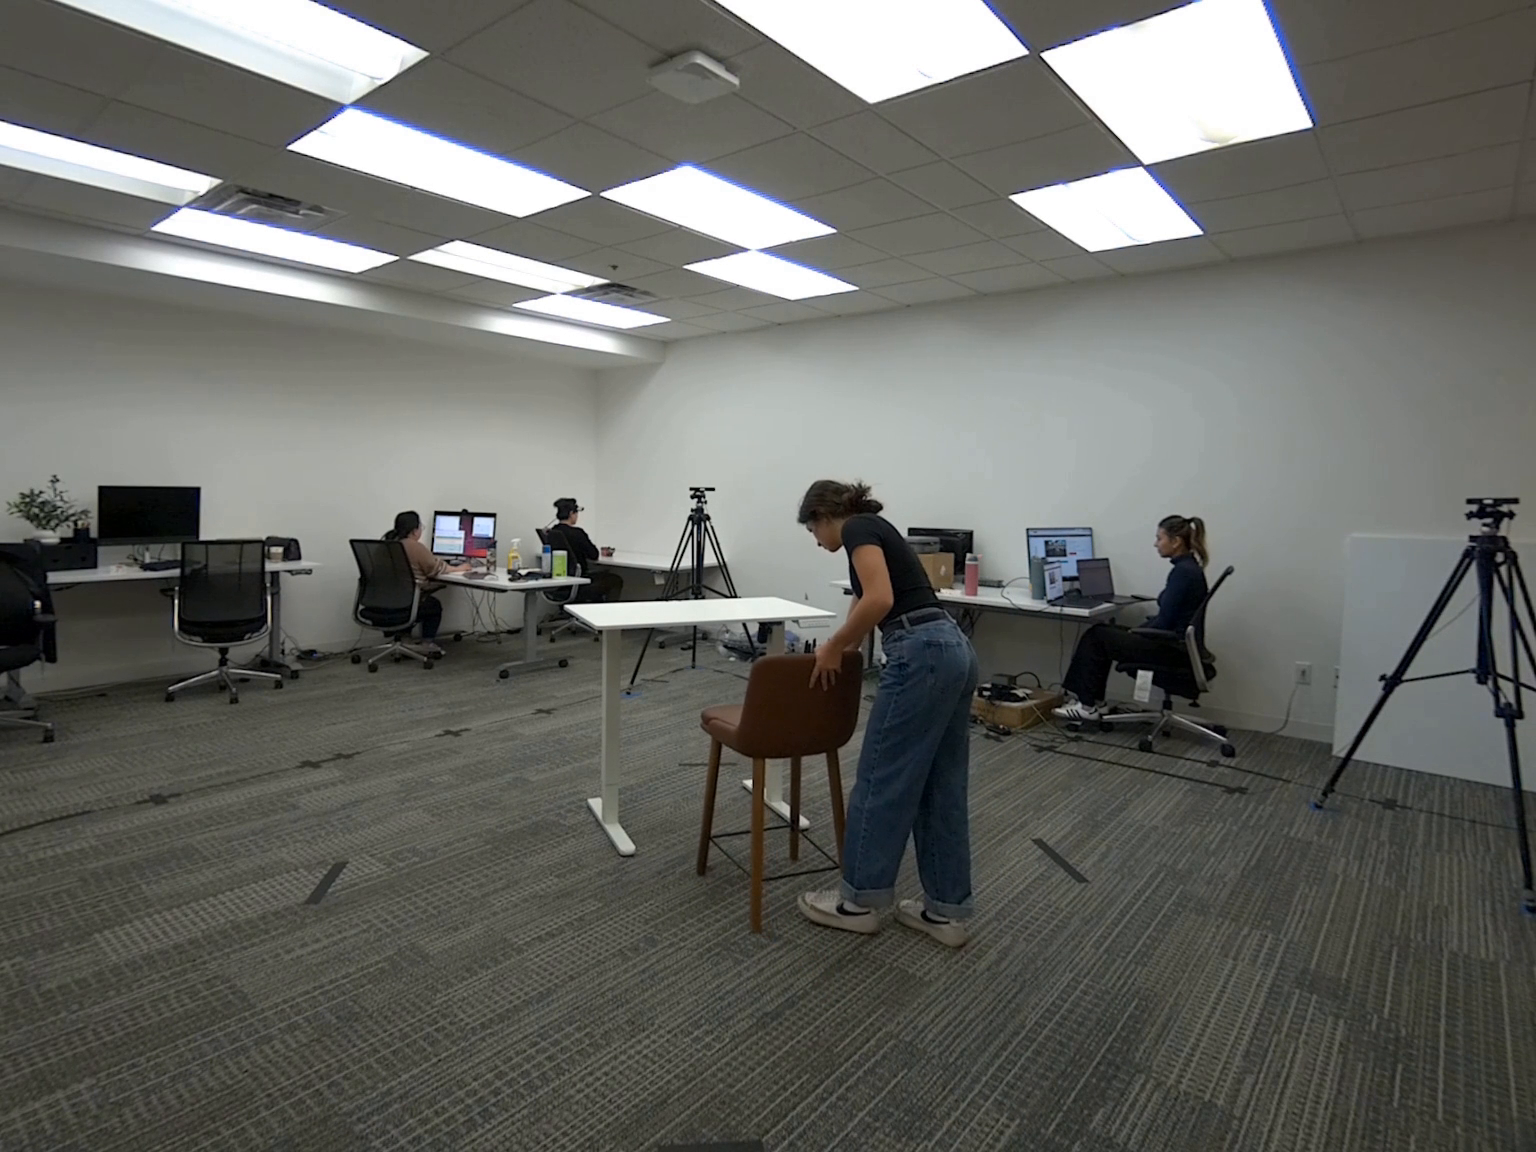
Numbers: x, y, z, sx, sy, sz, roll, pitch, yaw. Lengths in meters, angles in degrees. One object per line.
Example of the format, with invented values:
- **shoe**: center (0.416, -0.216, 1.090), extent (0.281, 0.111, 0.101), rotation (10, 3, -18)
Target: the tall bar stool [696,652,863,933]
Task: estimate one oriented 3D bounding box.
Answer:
- **tall bar stool**: center (0.025, 0.651, 2.913), extent (0.446, 0.885, 0.481), rotation (0, 6, -24)
